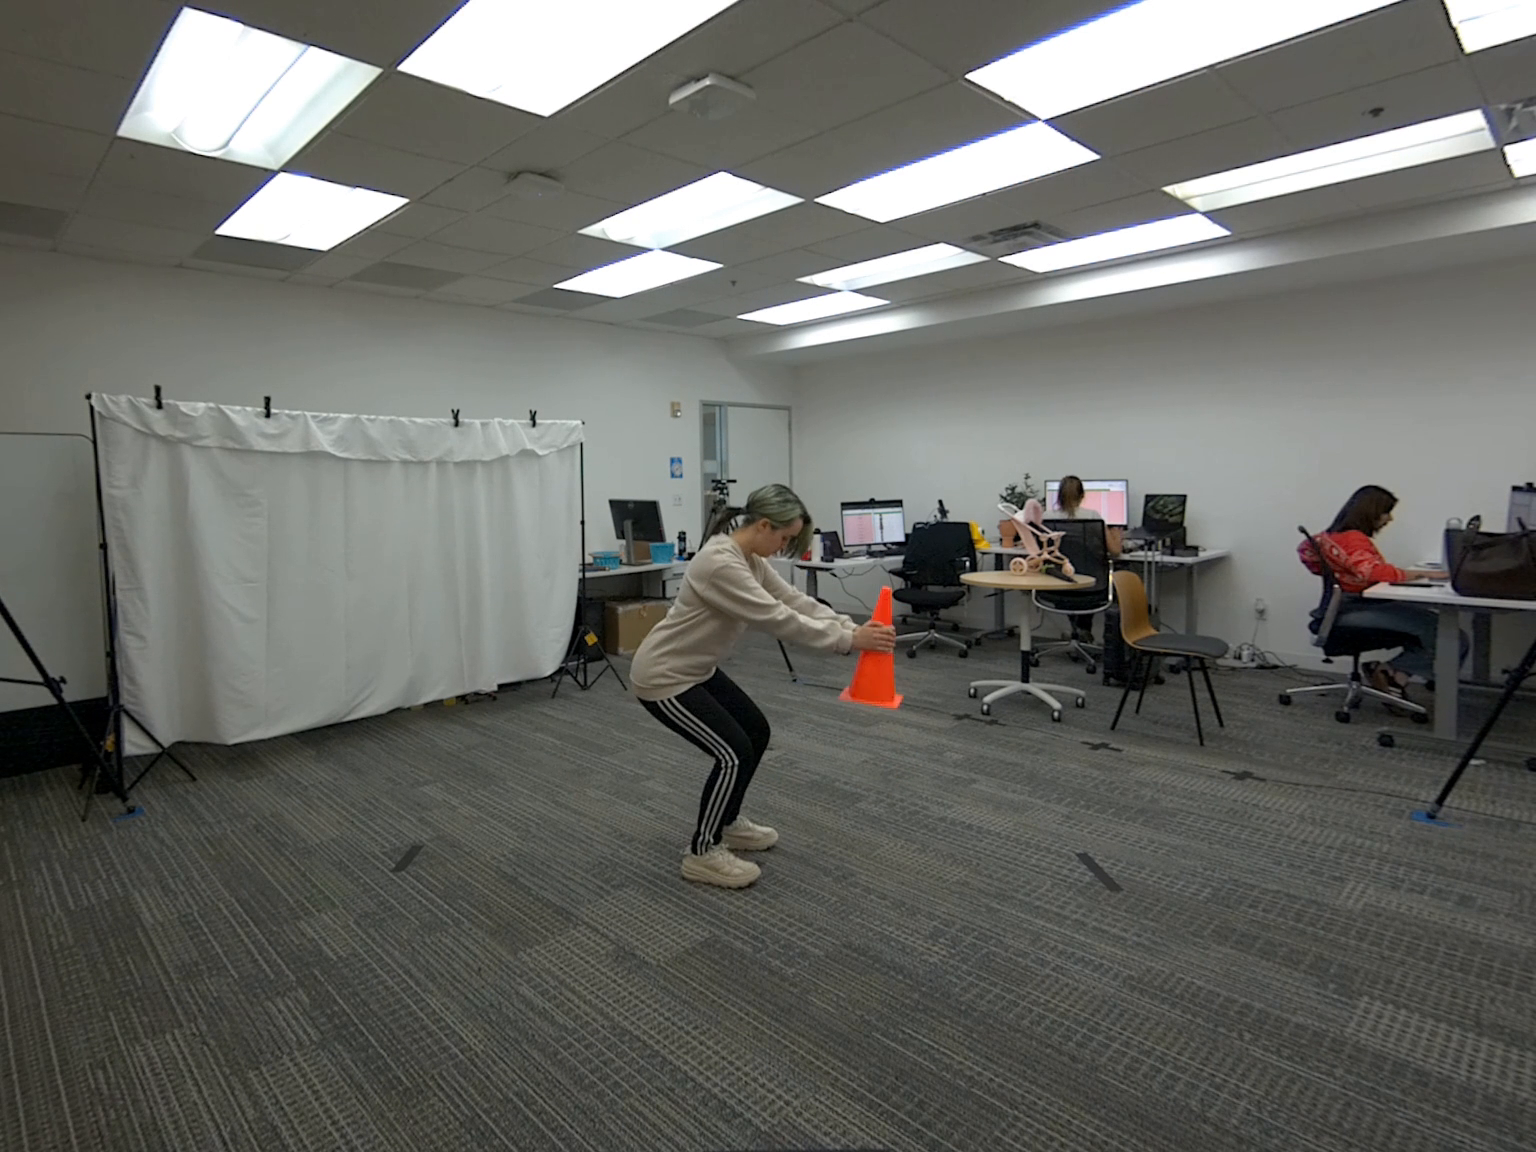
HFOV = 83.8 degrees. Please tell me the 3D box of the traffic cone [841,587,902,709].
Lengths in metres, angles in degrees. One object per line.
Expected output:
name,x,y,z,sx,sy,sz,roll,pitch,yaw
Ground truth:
traffic cone,0.371,0.227,2.906,0.207,0.382,0.202,7,6,18
